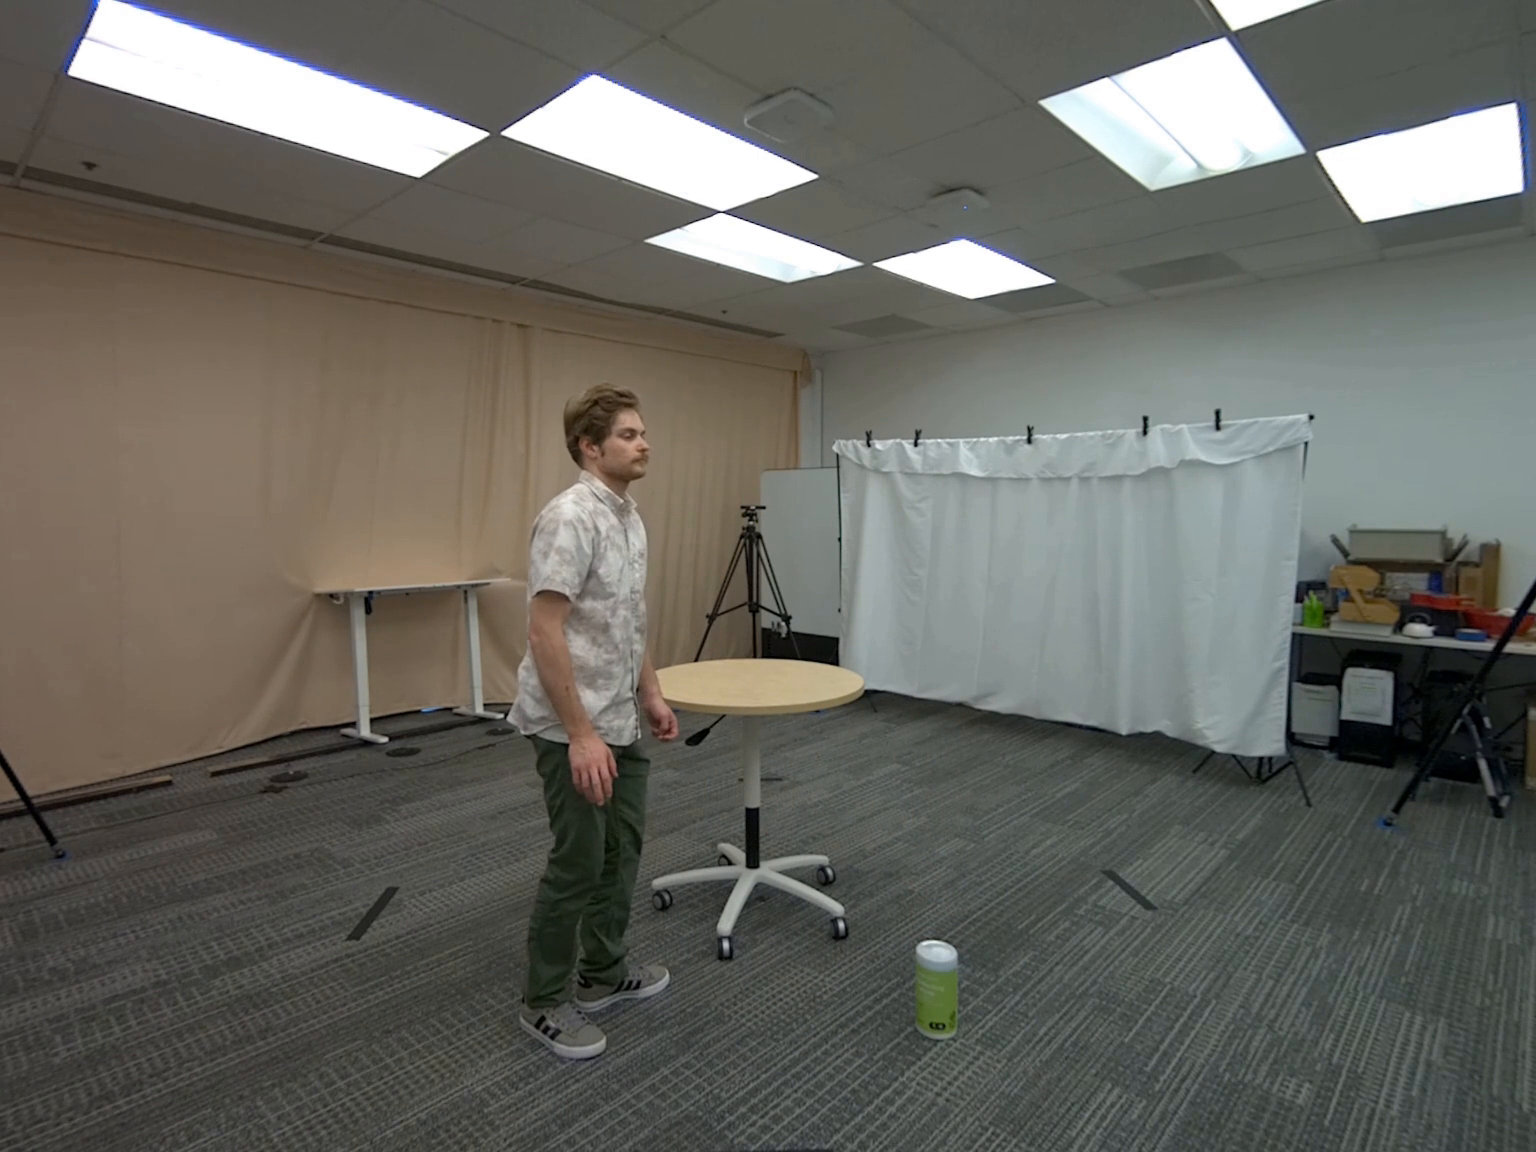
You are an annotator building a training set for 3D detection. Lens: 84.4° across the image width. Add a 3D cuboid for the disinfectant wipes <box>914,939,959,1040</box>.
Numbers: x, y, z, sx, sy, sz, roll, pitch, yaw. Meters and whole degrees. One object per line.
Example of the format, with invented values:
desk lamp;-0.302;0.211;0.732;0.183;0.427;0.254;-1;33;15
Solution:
disinfectant wipes;0.456;1.100;2.223;0.117;0.217;0.118;2;3;-2
